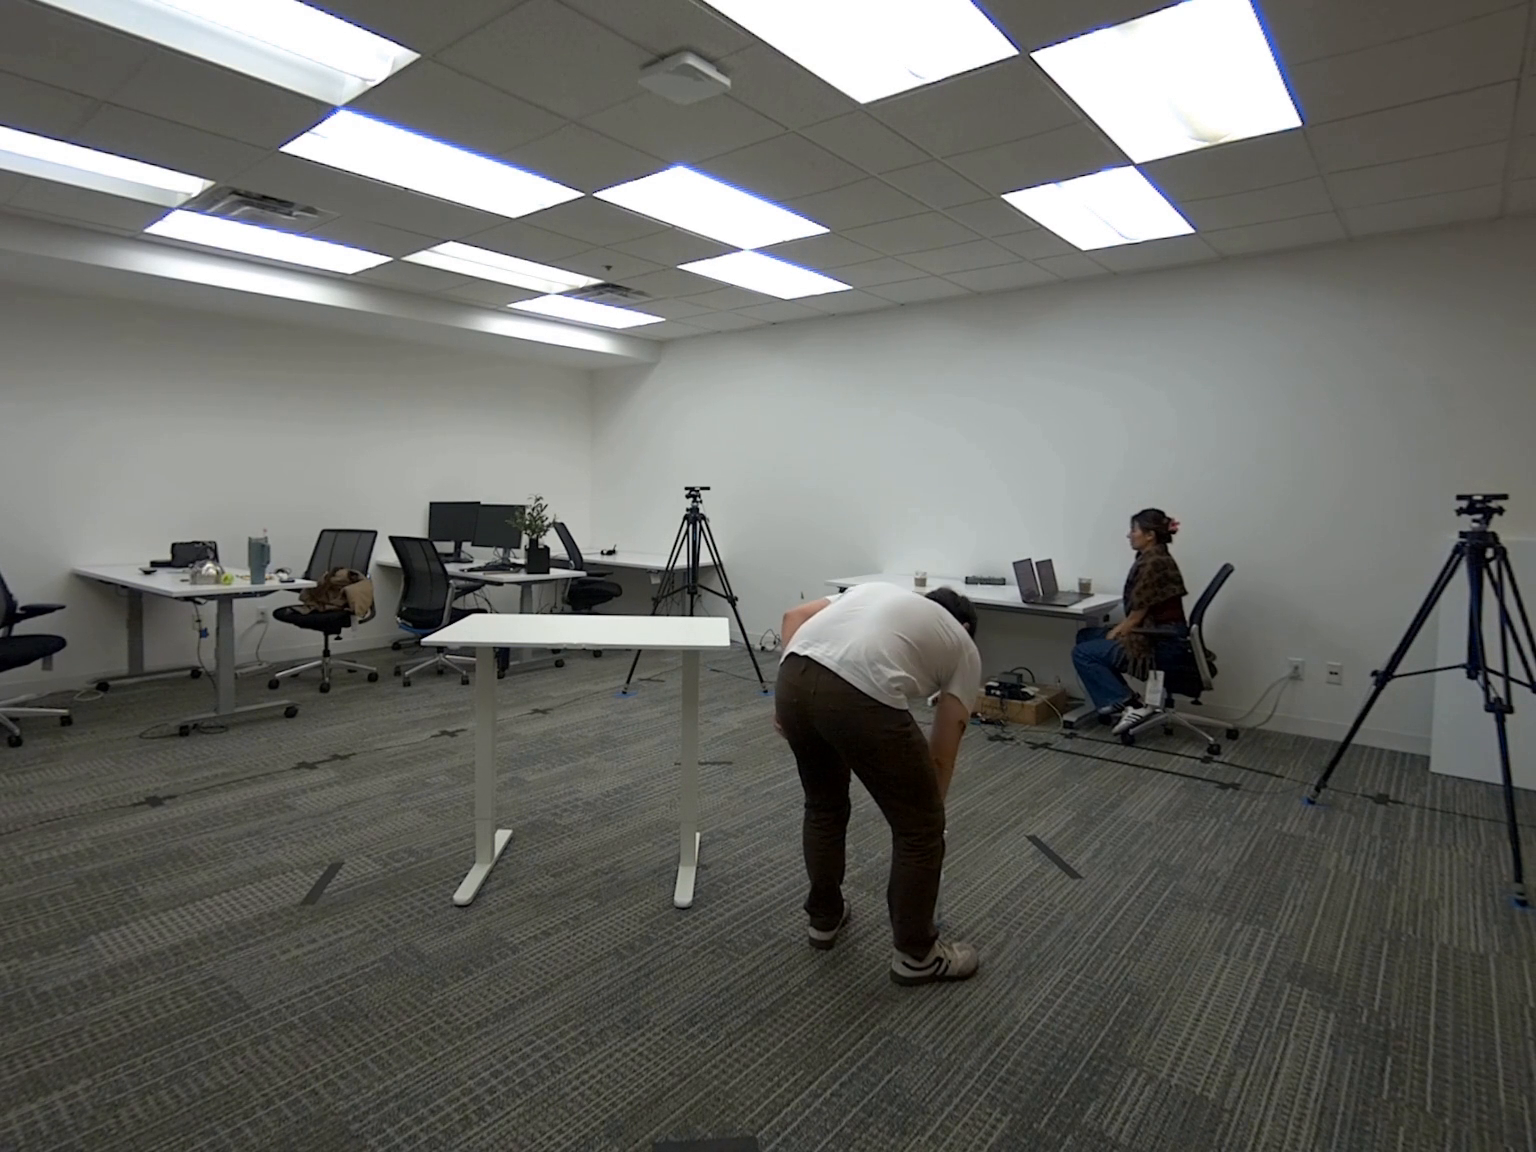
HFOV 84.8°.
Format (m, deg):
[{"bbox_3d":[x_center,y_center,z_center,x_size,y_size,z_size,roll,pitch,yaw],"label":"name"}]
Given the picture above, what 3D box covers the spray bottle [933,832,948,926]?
[{"bbox_3d":[0.521,0.967,2.744,0.091,0.296,0.086,3,3,14],"label":"spray bottle"}]
